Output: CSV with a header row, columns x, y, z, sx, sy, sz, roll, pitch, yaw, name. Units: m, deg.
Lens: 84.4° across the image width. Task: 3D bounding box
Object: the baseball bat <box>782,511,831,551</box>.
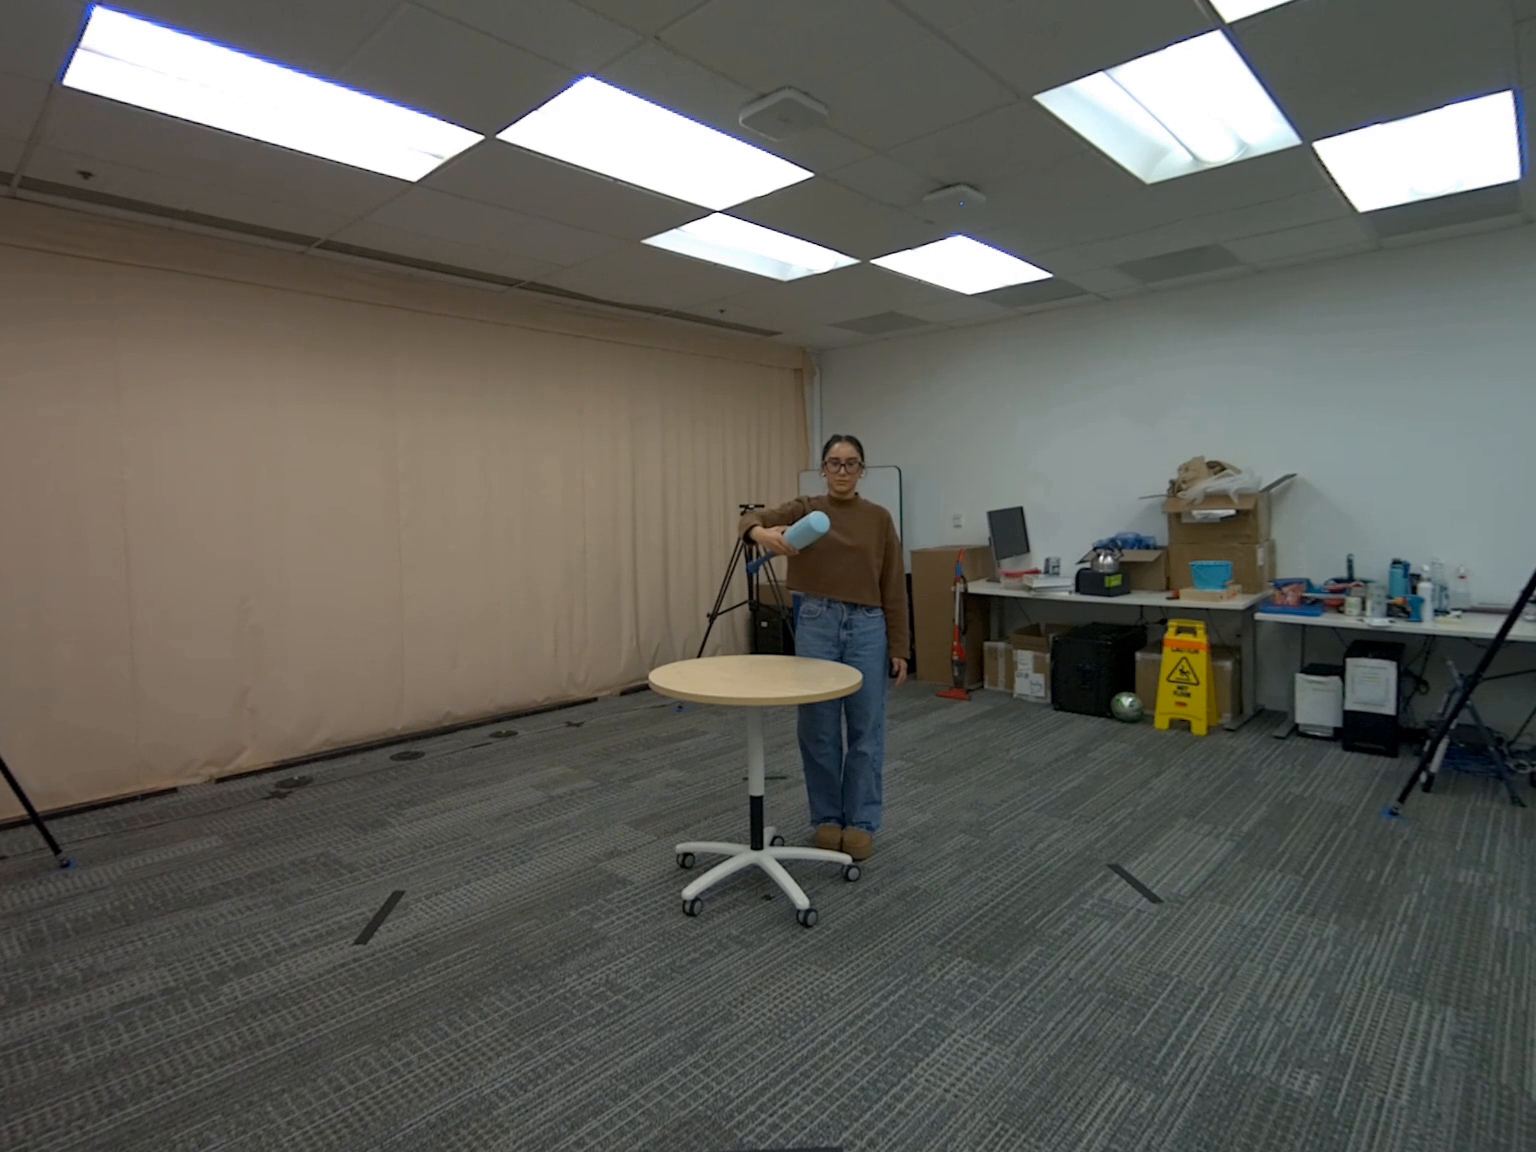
x,y,z,sx,sy,sz,roll,pitch,yaw,name
0.055,-0.108,3.087,0.087,0.090,0.550,-2,-15,-28,baseball bat
